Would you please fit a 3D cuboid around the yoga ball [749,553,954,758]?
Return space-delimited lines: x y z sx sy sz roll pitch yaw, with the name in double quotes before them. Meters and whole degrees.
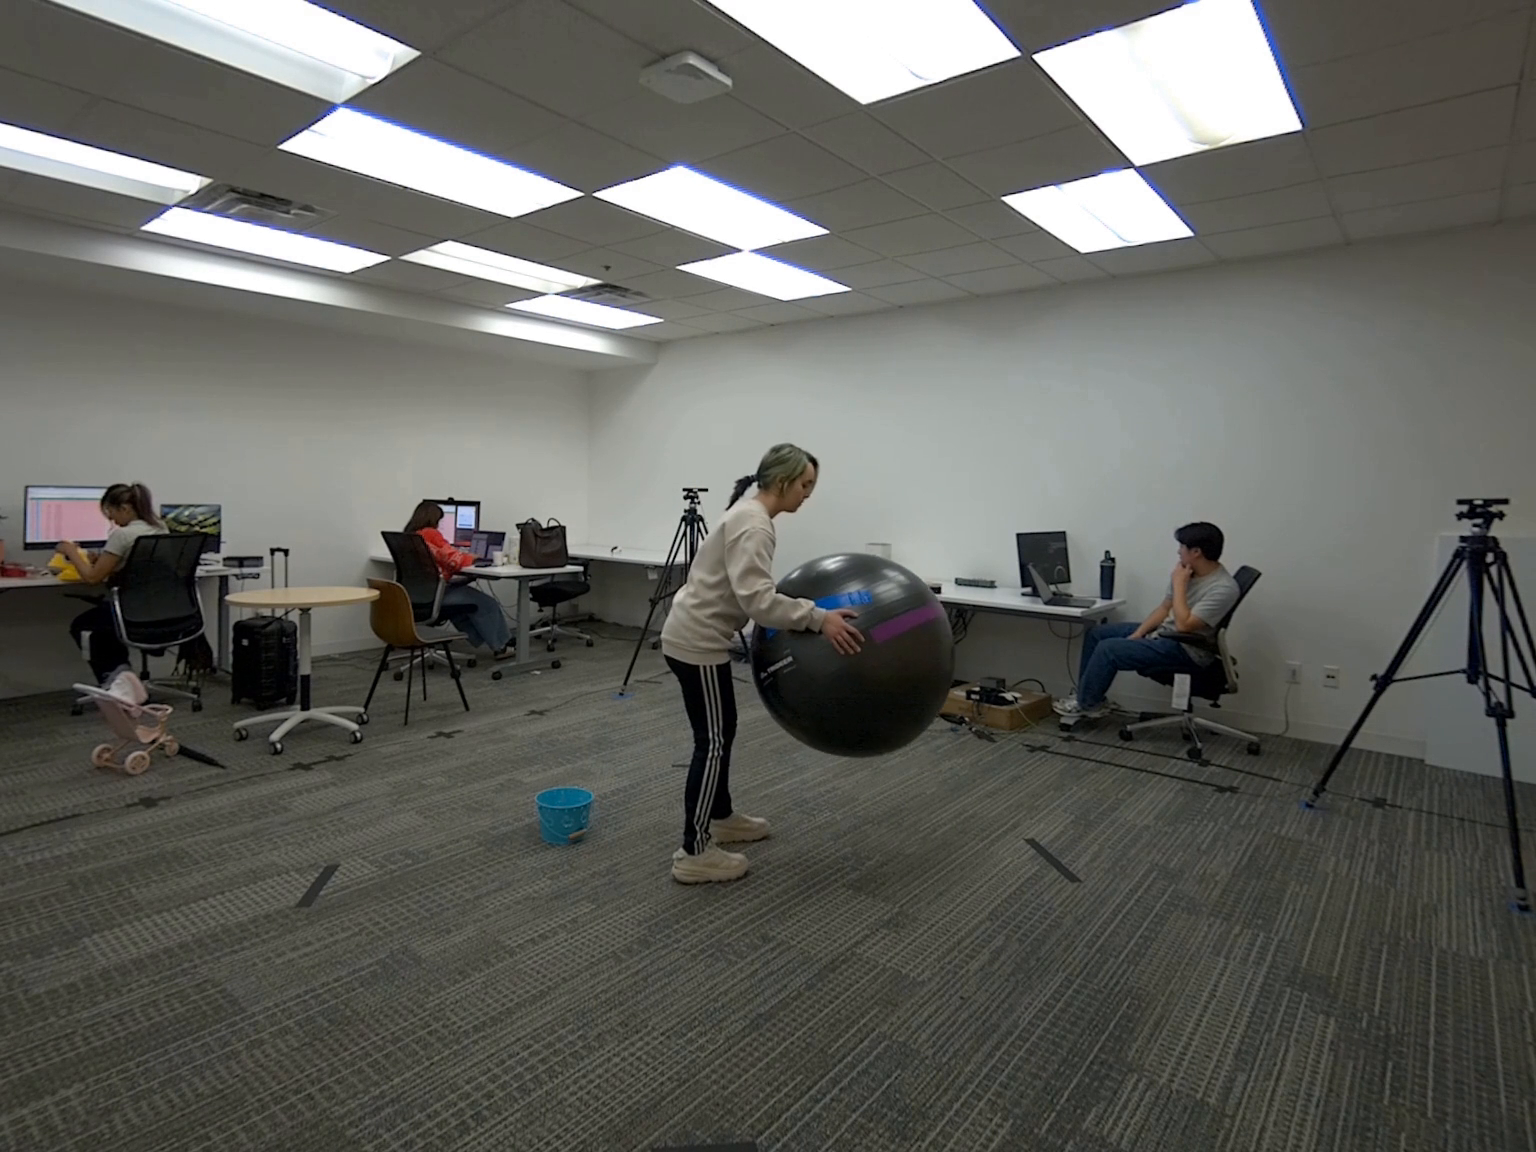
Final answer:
"yoga ball" 0.303 0.300 3.196 0.757 0.755 0.762 1 4 -2
